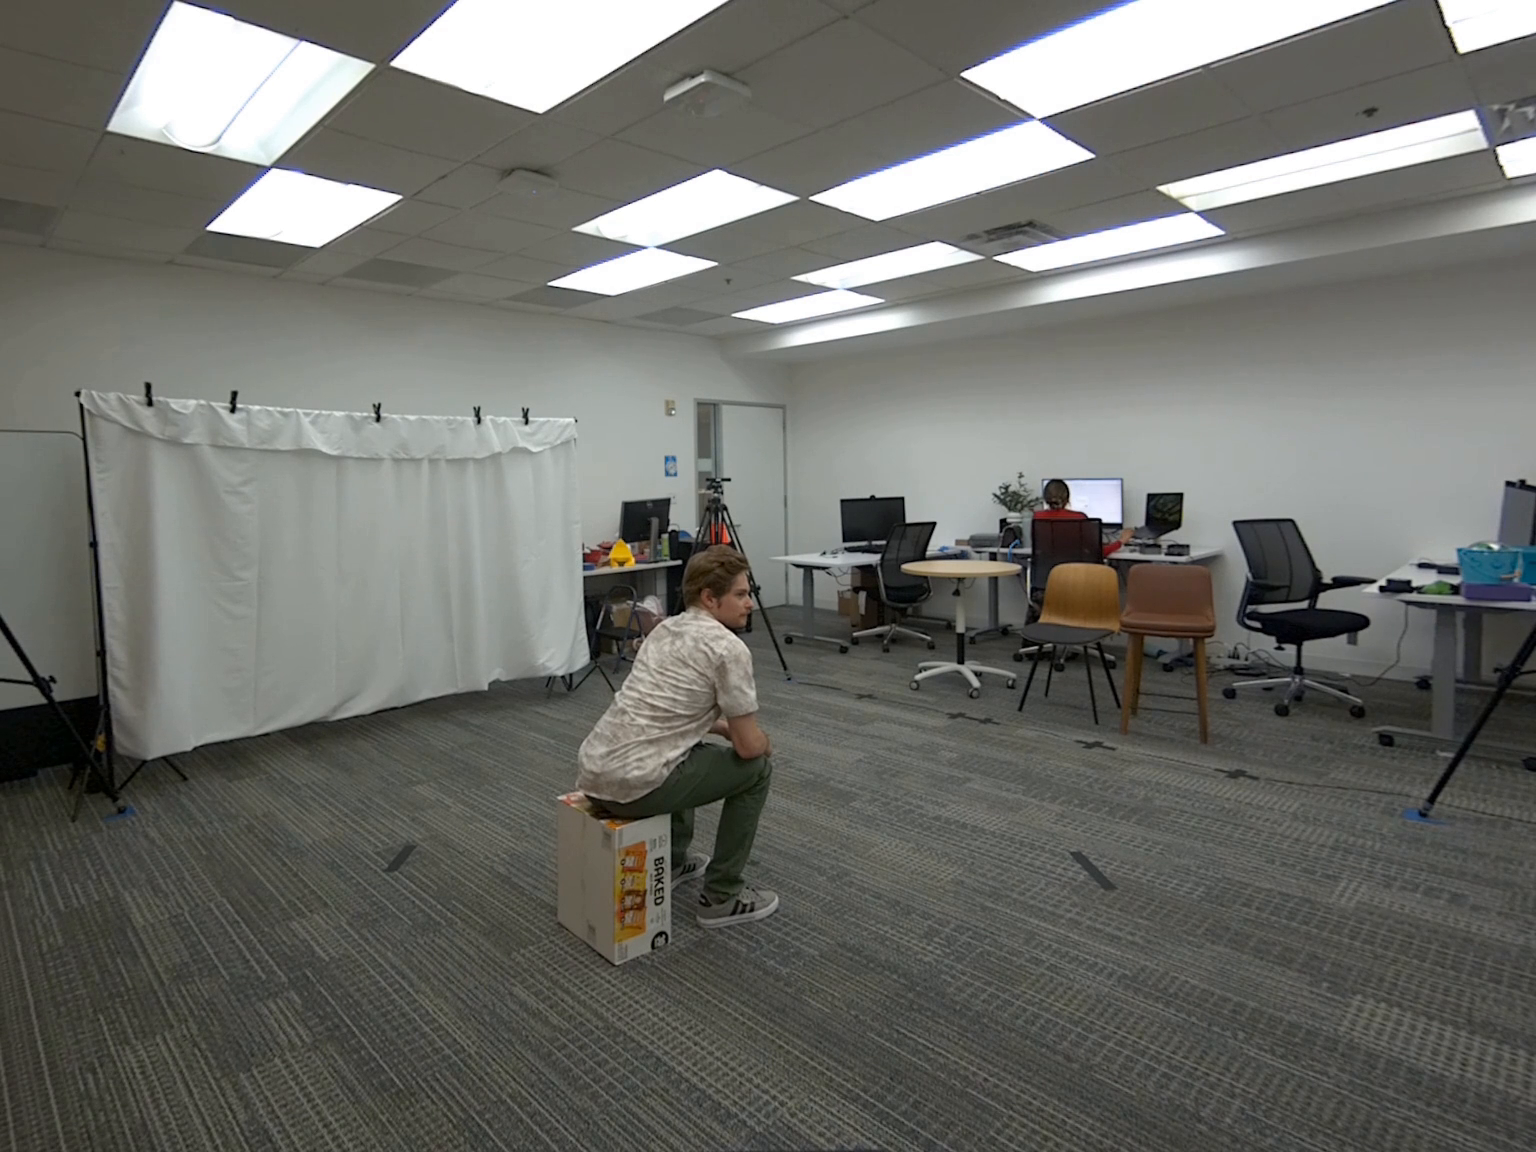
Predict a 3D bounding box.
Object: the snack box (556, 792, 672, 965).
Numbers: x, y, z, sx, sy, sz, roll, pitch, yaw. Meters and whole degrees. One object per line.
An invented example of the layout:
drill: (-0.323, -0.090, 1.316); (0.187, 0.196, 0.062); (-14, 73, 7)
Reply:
snack box: (-0.480, 0.905, 2.641); (0.200, 0.404, 0.351); (-2, 5, -42)
